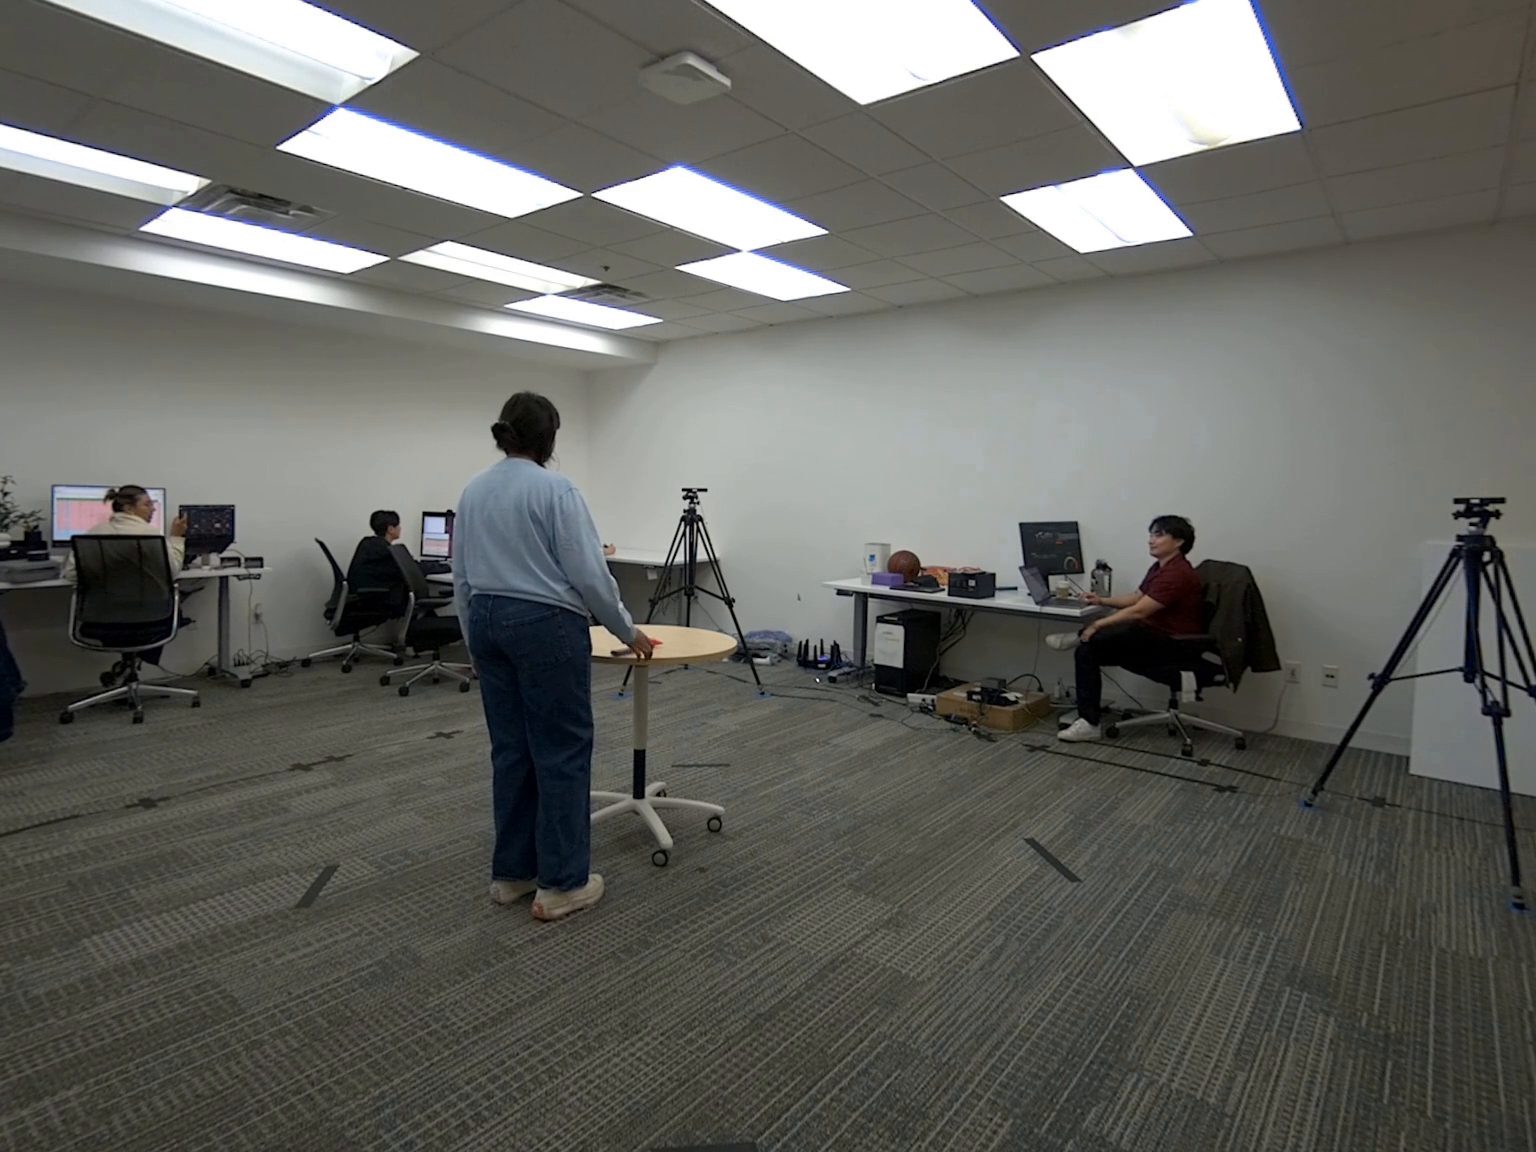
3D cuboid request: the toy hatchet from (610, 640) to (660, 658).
[{"bbox_3d":[-0.526,0.260,3.174,0.135,0.029,0.263,5,7,31],"label":"toy hatchet"}]
